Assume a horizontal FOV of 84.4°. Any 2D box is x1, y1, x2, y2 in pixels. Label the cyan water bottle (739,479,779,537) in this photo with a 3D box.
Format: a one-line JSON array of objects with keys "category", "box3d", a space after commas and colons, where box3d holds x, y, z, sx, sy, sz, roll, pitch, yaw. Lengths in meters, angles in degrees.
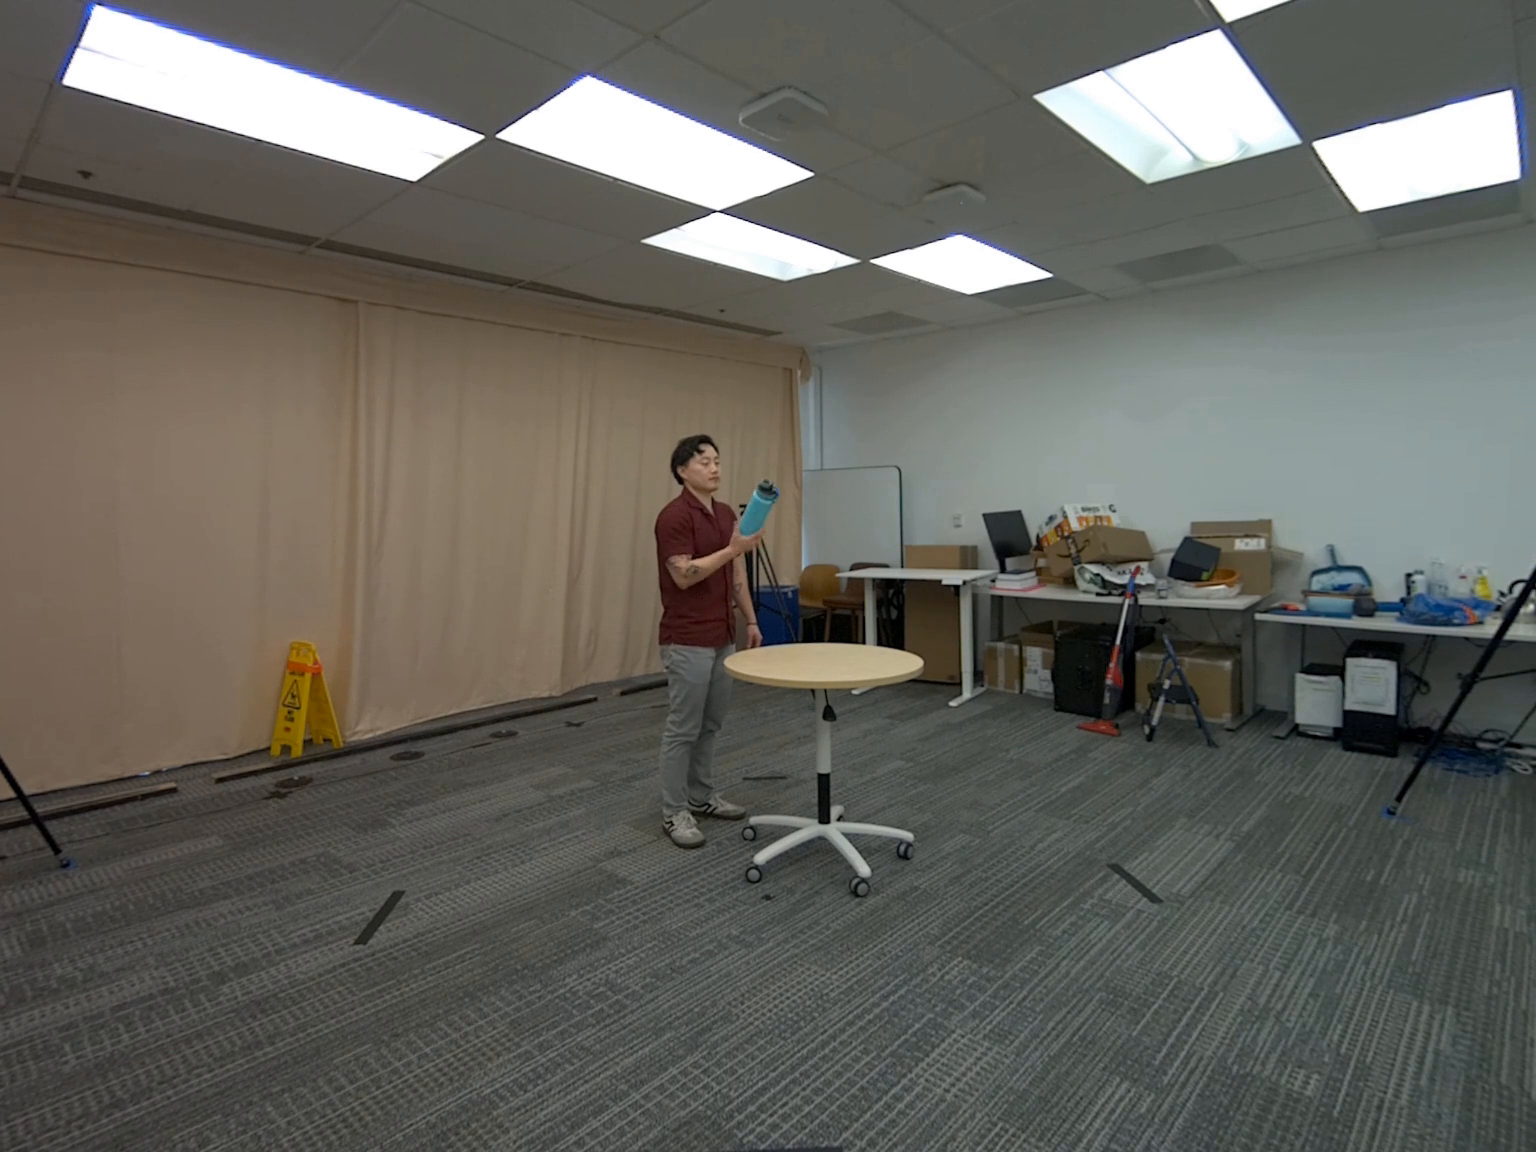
[{"category": "cyan water bottle", "box3d": [-0.032, -0.297, 3.322, 0.091, 0.282, 0.094, 15, 36, -13]}]
